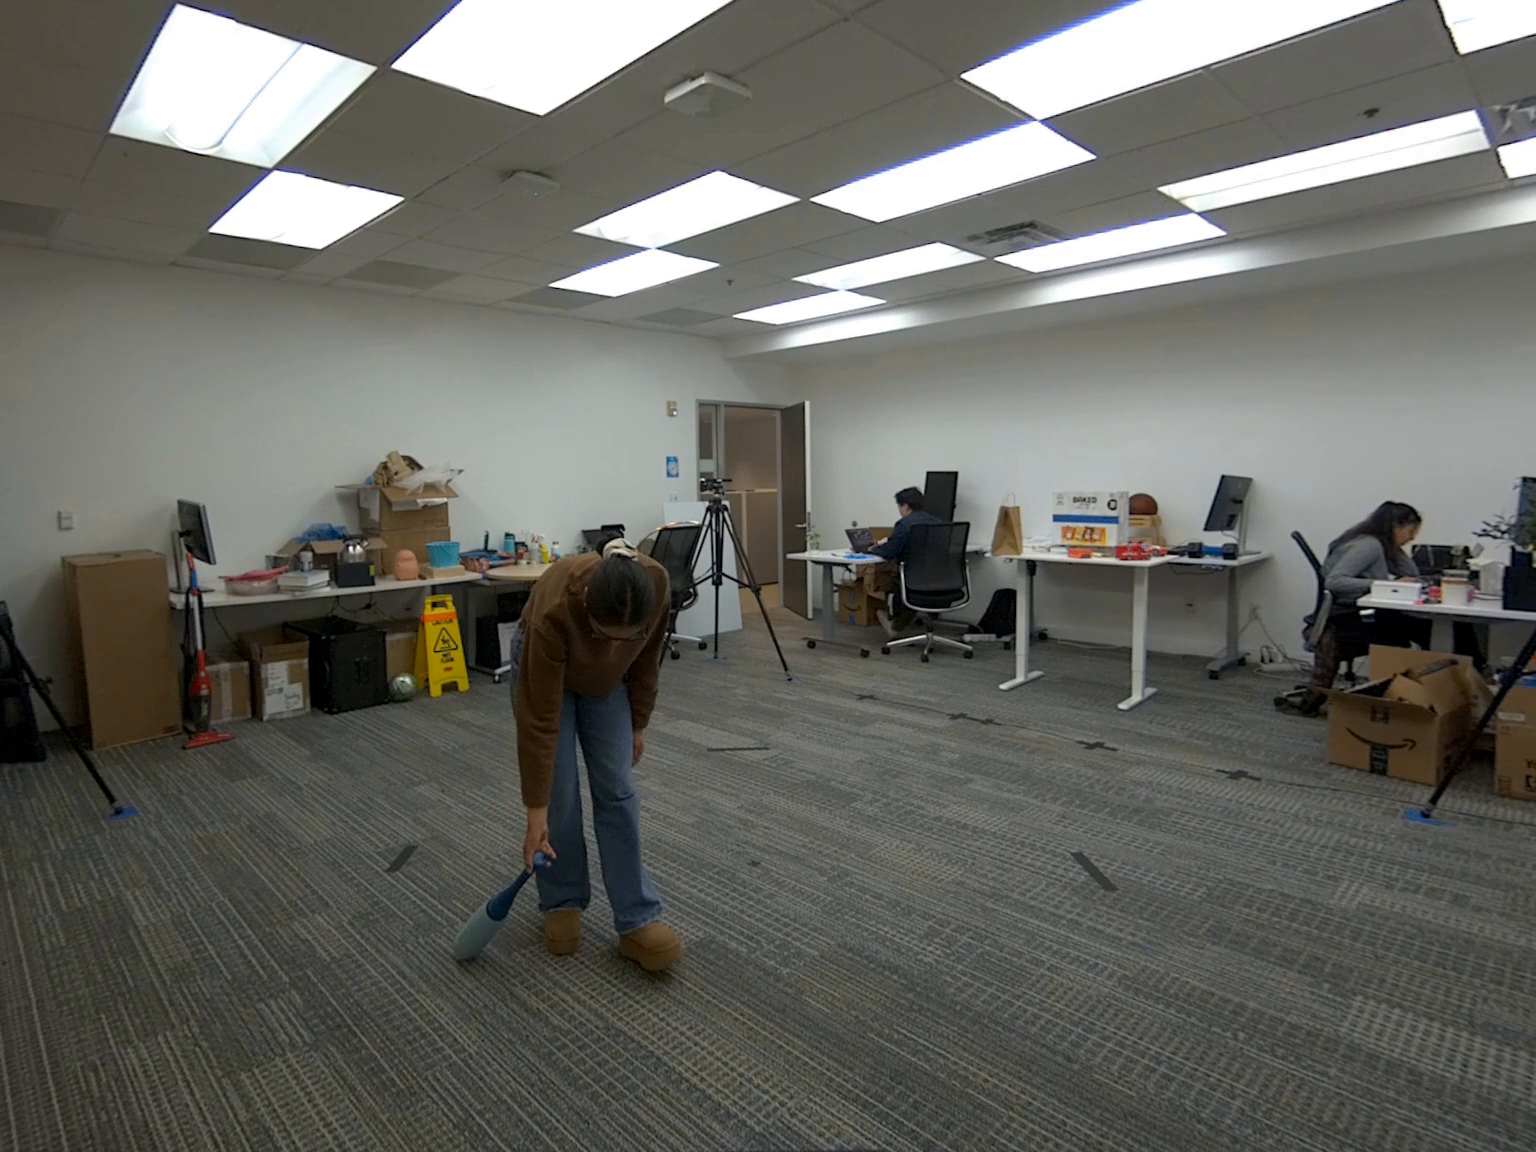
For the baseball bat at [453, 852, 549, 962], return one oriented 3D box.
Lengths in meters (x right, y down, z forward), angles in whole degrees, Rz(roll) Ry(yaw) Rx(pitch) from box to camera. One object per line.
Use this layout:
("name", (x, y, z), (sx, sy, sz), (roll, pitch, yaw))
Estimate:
("baseball bat", (-0.754, 0.937, 2.399), (0.087, 0.092, 0.541), (-6, -35, -48))
